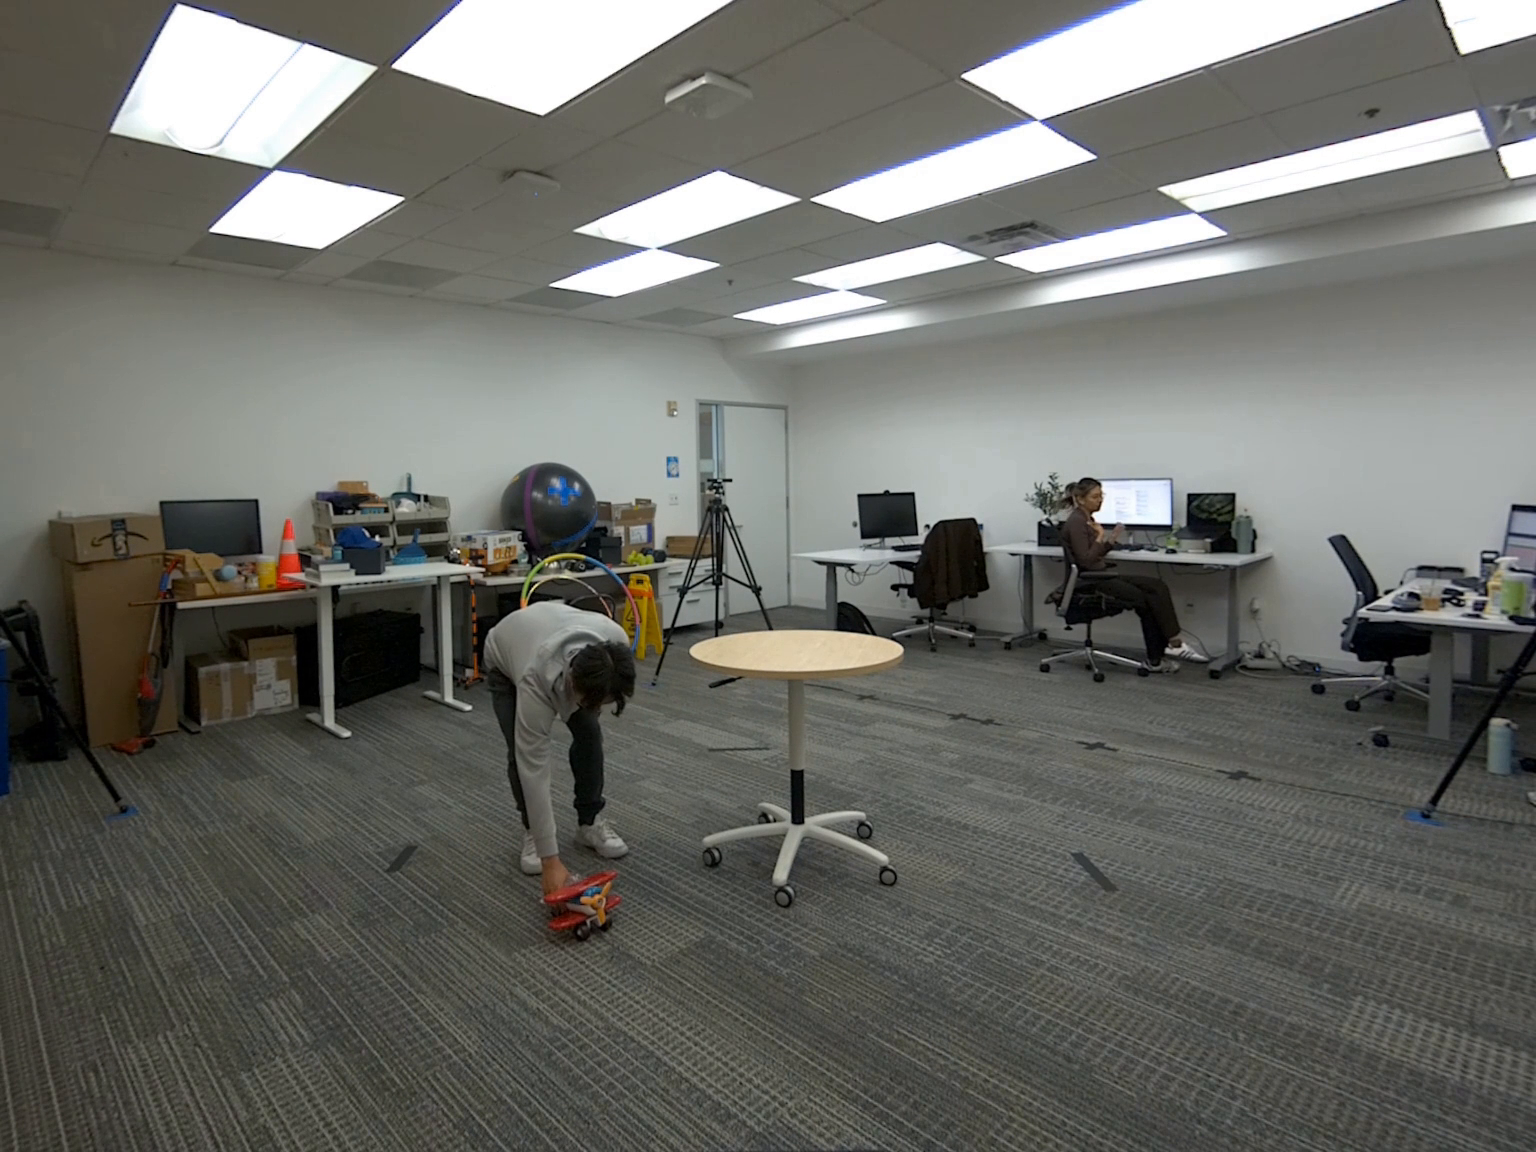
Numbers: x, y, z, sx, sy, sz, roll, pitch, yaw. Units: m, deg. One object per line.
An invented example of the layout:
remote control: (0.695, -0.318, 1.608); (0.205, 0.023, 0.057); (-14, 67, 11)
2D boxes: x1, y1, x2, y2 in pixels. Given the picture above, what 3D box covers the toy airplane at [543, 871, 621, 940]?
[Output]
toy airplane: (-0.609, 1.031, 2.680); (0.264, 0.155, 0.248); (1, 8, 17)
